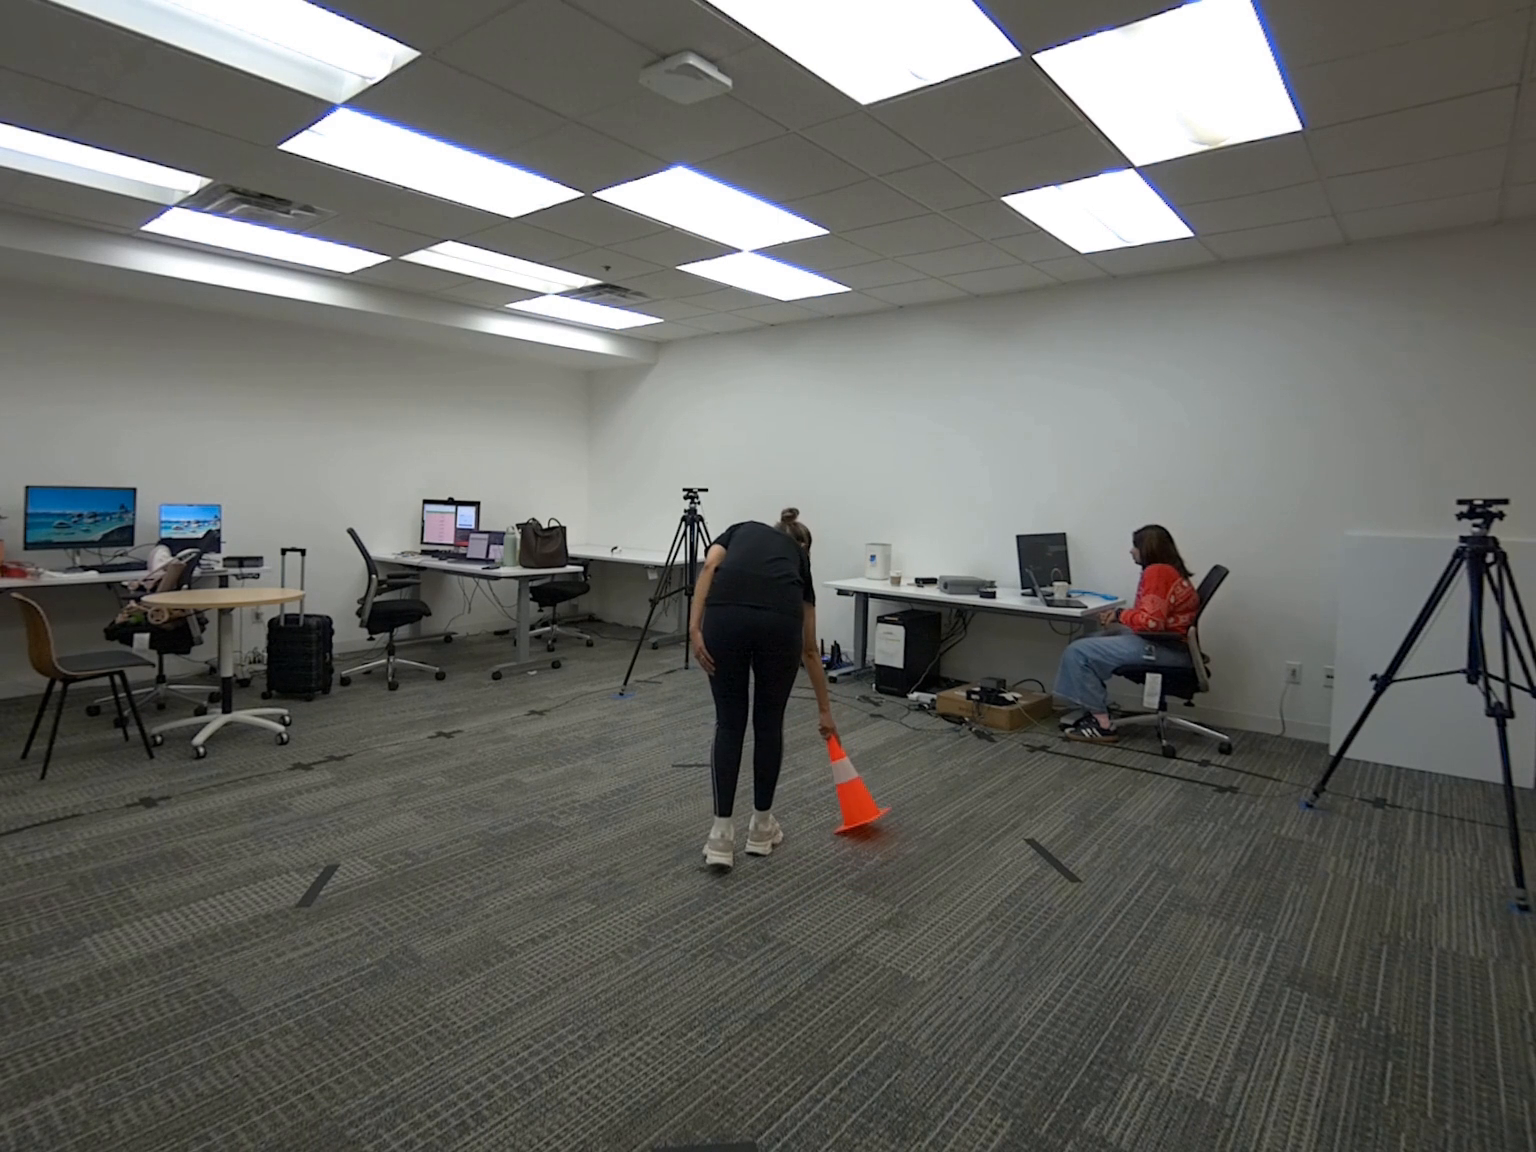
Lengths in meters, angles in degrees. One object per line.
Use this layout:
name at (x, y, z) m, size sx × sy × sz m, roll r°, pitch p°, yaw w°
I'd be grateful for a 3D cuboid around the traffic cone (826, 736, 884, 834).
traffic cone at (0.309, 0.834, 3.544) m, size 0.207 × 0.390 × 0.198 m, roll -28°, pitch -14°, yaw 26°
